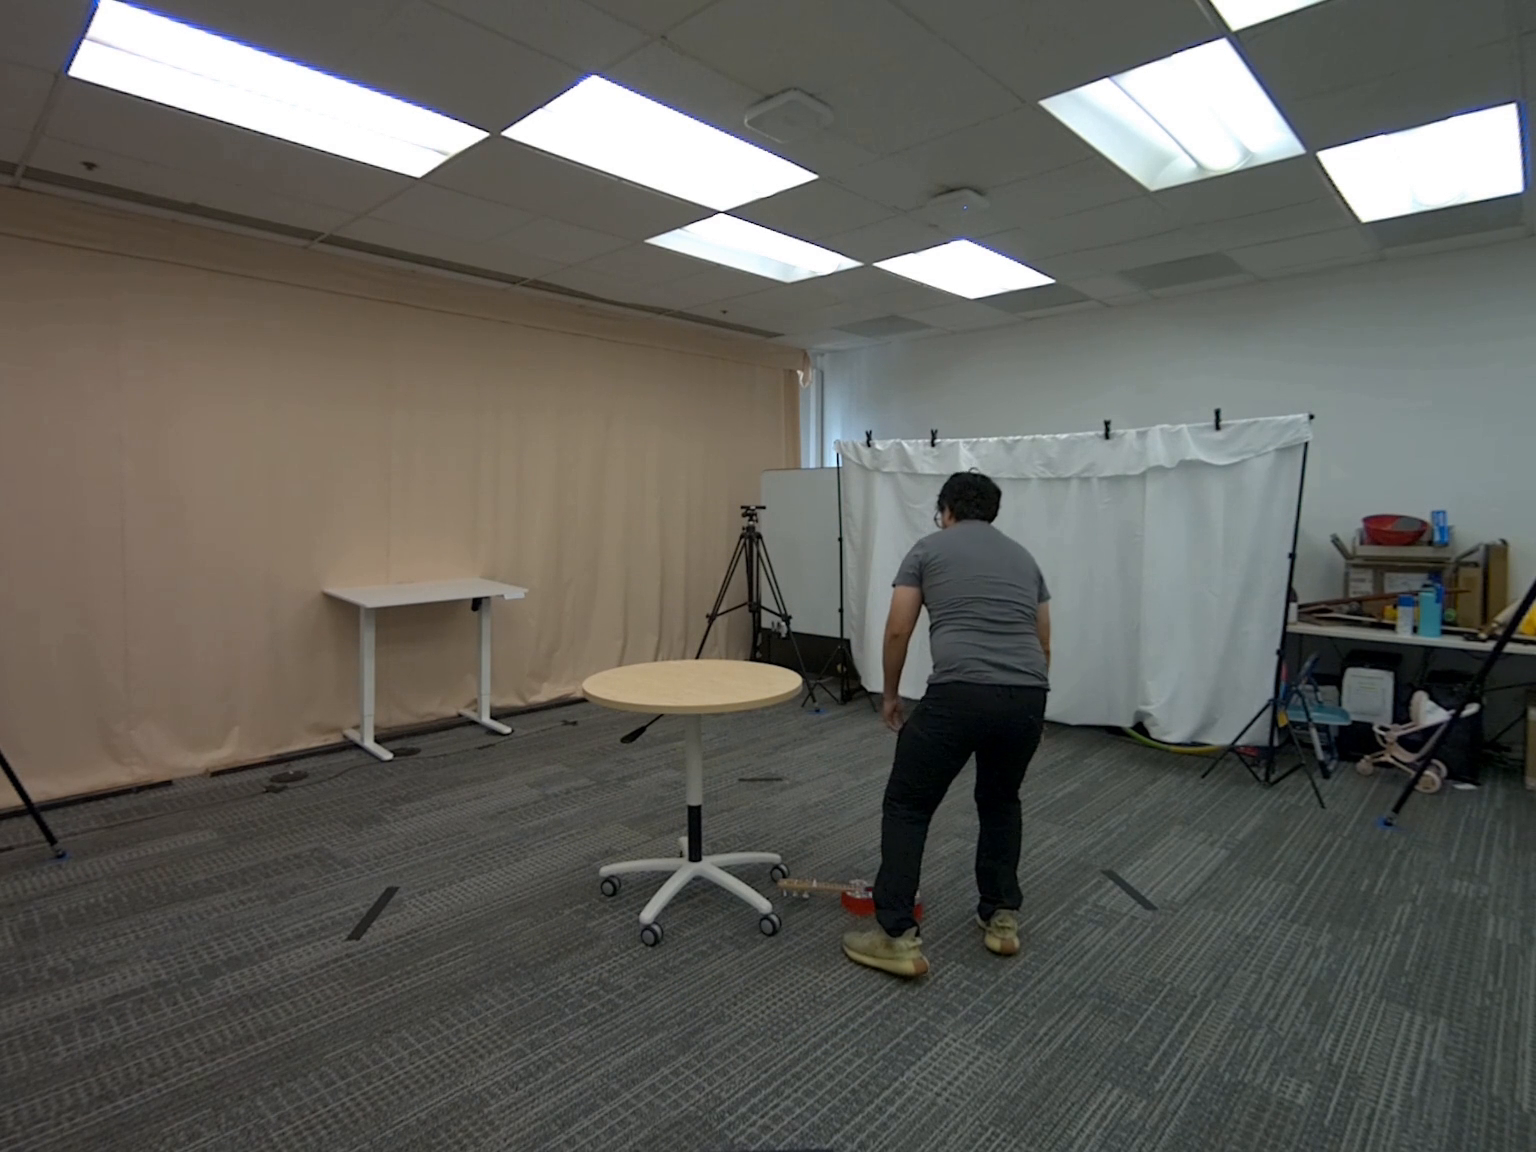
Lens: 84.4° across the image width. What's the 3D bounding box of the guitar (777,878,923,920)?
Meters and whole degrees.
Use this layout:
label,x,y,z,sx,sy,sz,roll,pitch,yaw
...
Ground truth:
label,x,y,z,sx,sy,sz,roll,pitch,yaw
guitar,0.291,1.103,2.961,0.507,0.070,0.190,2,5,18
